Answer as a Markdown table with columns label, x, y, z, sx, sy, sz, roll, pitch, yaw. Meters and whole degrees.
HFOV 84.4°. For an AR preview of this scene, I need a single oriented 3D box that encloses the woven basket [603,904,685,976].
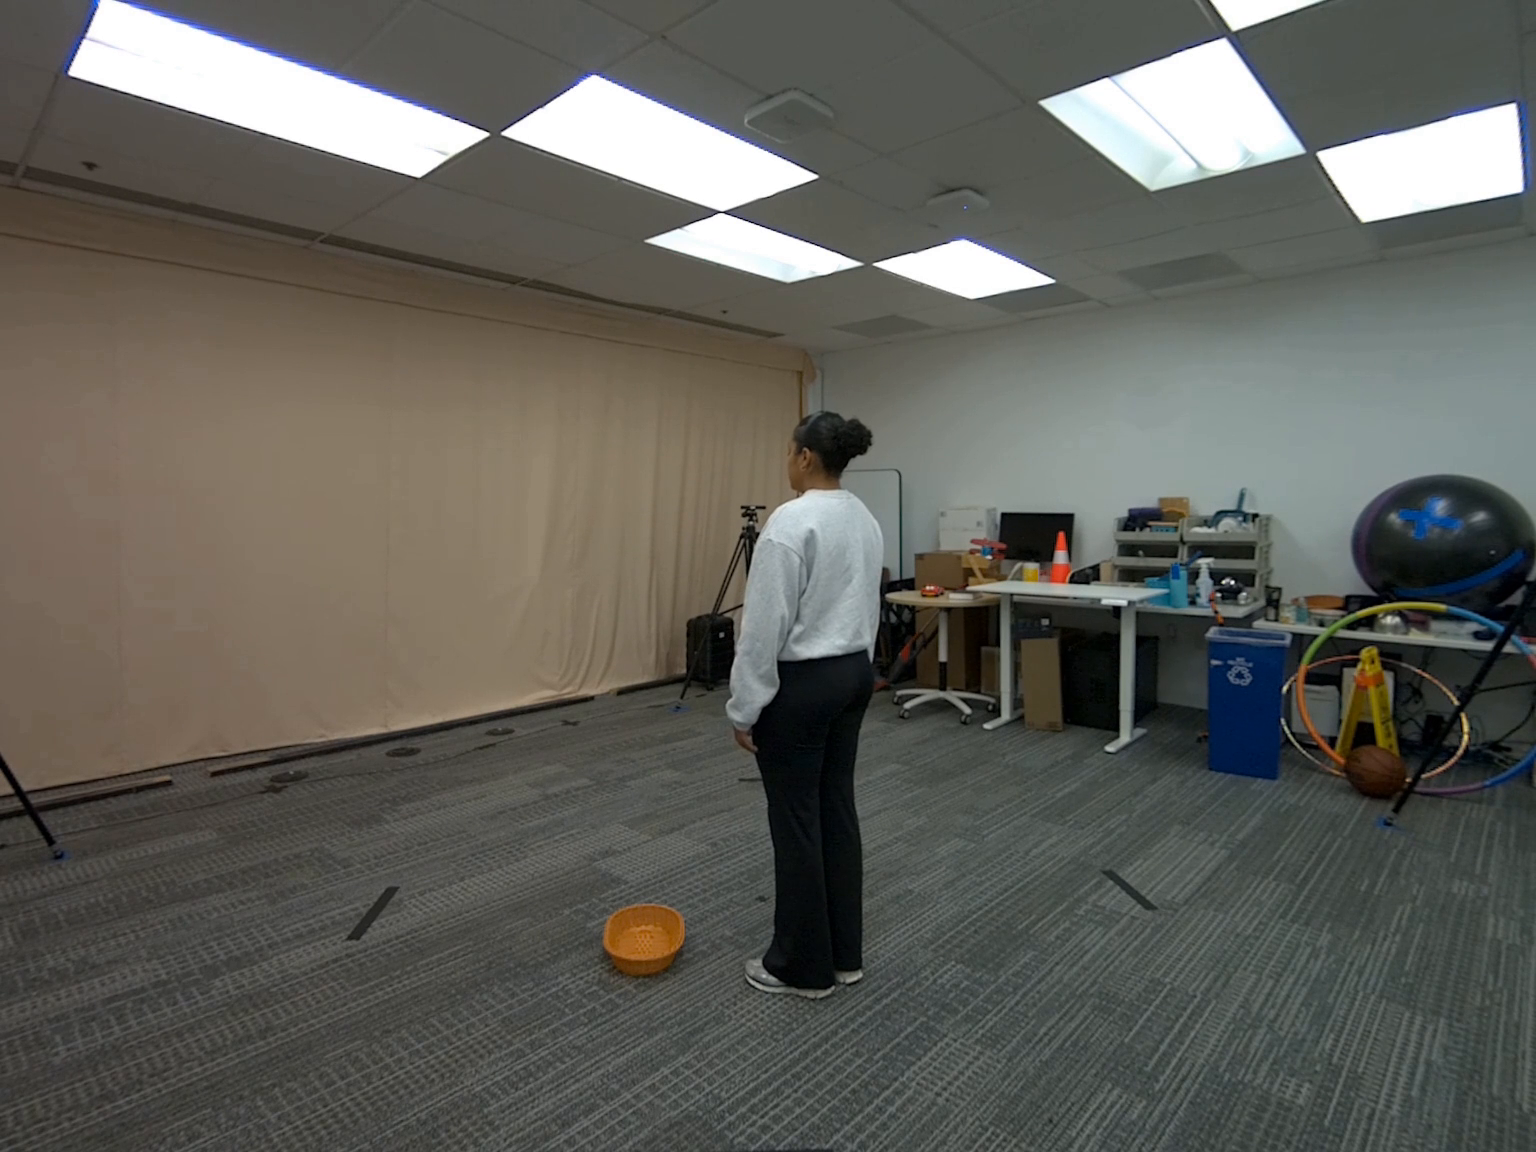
| label | x | y | z | sx | sy | sz | roll | pitch | yaw |
| --- | --- | --- | --- | --- | --- | --- | --- | --- | --- |
| woven basket | -0.384 | 1.136 | 2.637 | 0.252 | 0.073 | 0.351 | 0 | 5 | -2 |
